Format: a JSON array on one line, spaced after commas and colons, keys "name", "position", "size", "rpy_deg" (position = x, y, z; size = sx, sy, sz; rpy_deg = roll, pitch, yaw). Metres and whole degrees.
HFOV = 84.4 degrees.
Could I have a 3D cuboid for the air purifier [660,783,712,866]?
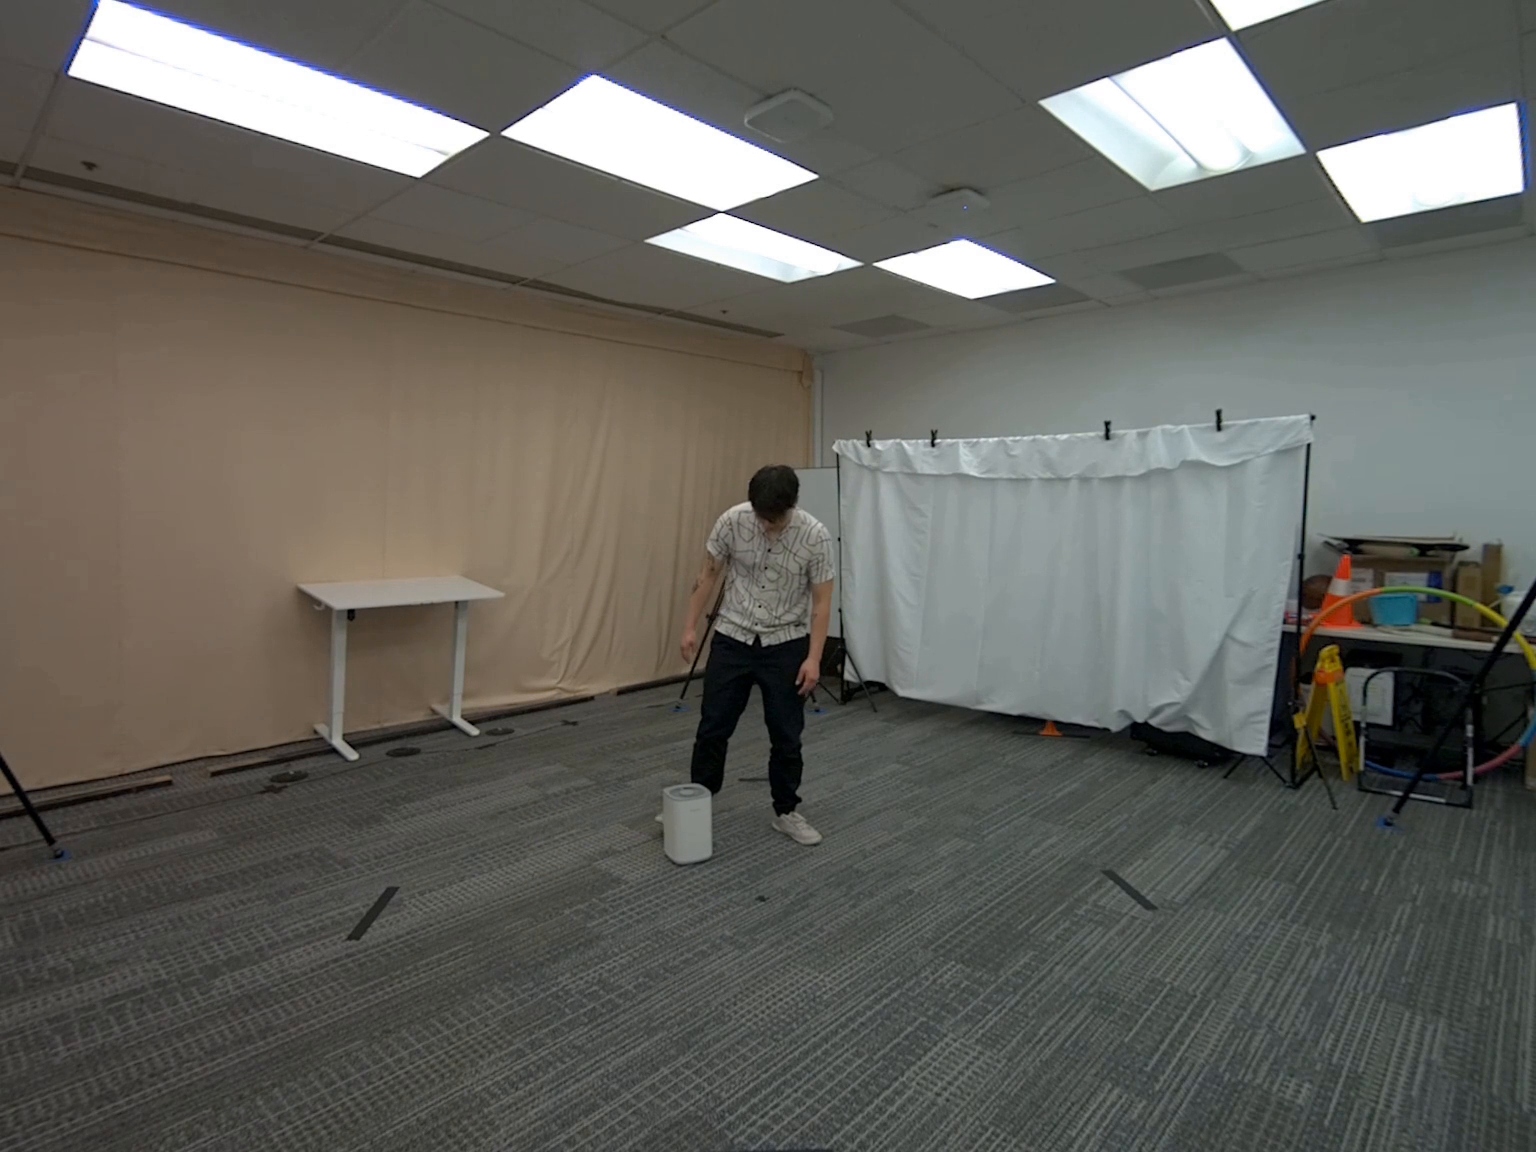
[{"name": "air purifier", "position": [-0.323, 0.982, 3.338], "size": [0.167, 0.264, 0.176], "rpy_deg": [-5, 6, -33]}]
